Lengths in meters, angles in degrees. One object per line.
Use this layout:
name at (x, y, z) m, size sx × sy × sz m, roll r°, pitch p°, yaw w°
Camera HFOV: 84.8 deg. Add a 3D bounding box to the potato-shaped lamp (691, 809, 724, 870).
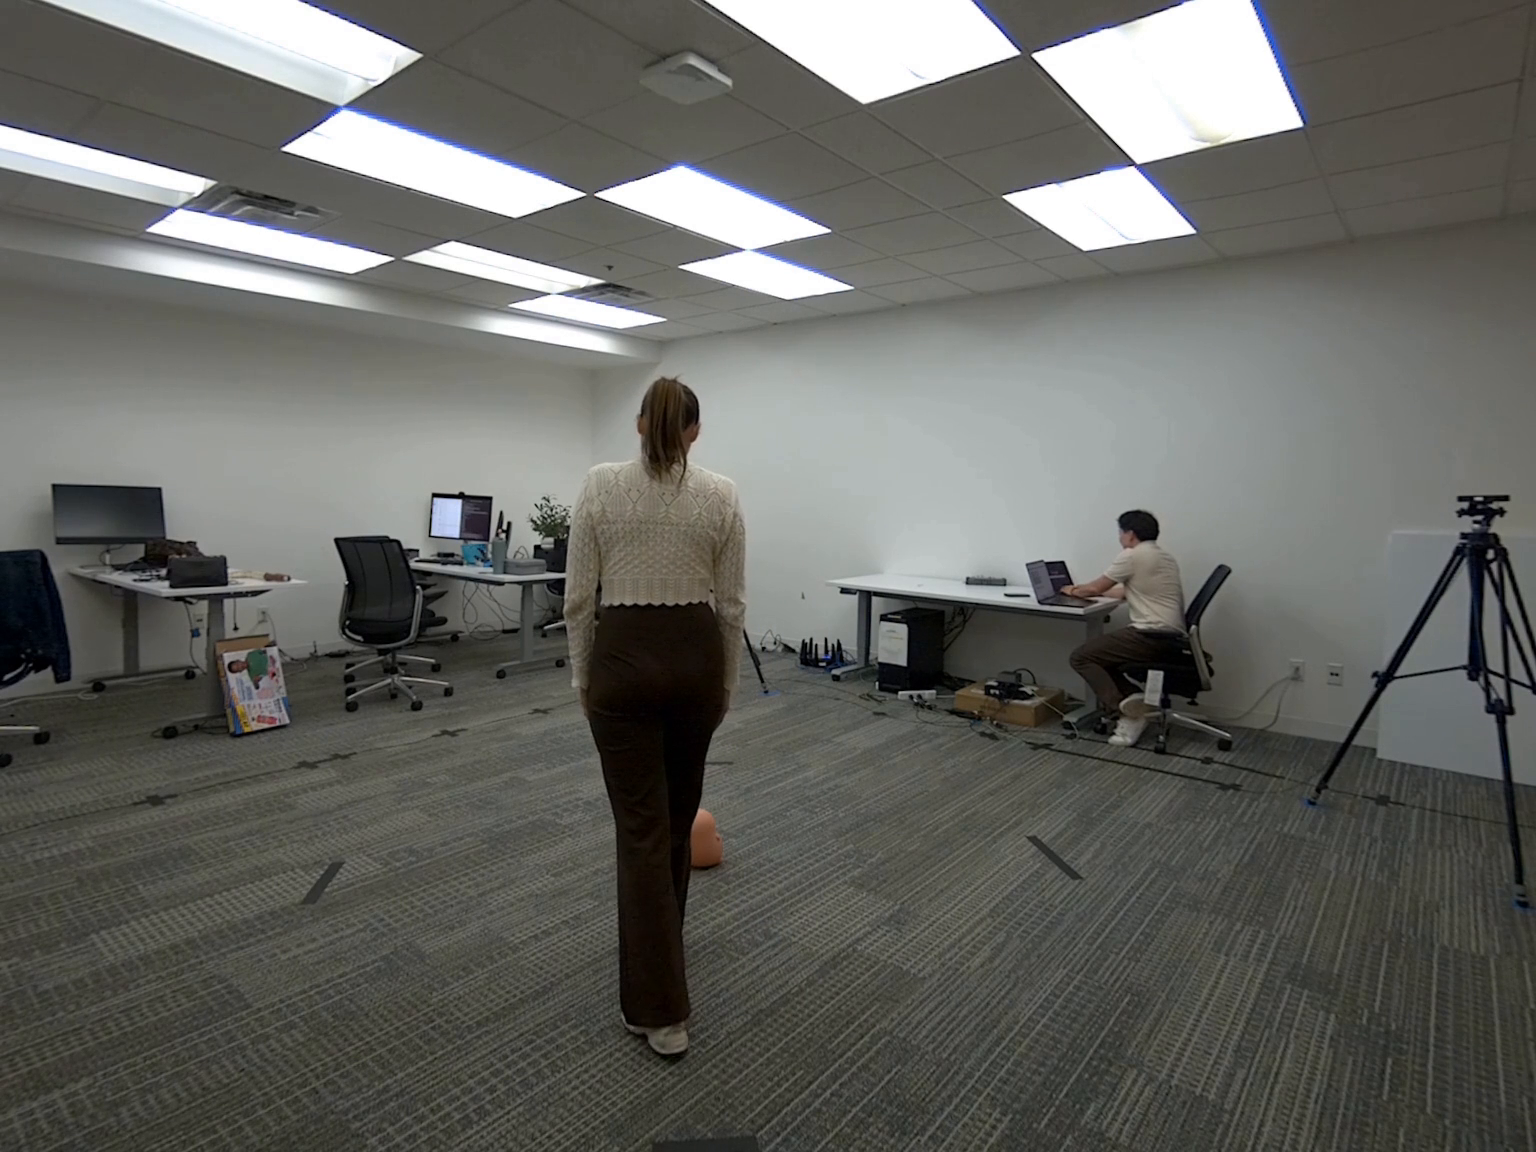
potato-shaped lamp at (-0.264, 0.960, 3.150) m, size 0.167 × 0.198 × 0.169 m, roll 0°, pitch 2°, yaw -27°
